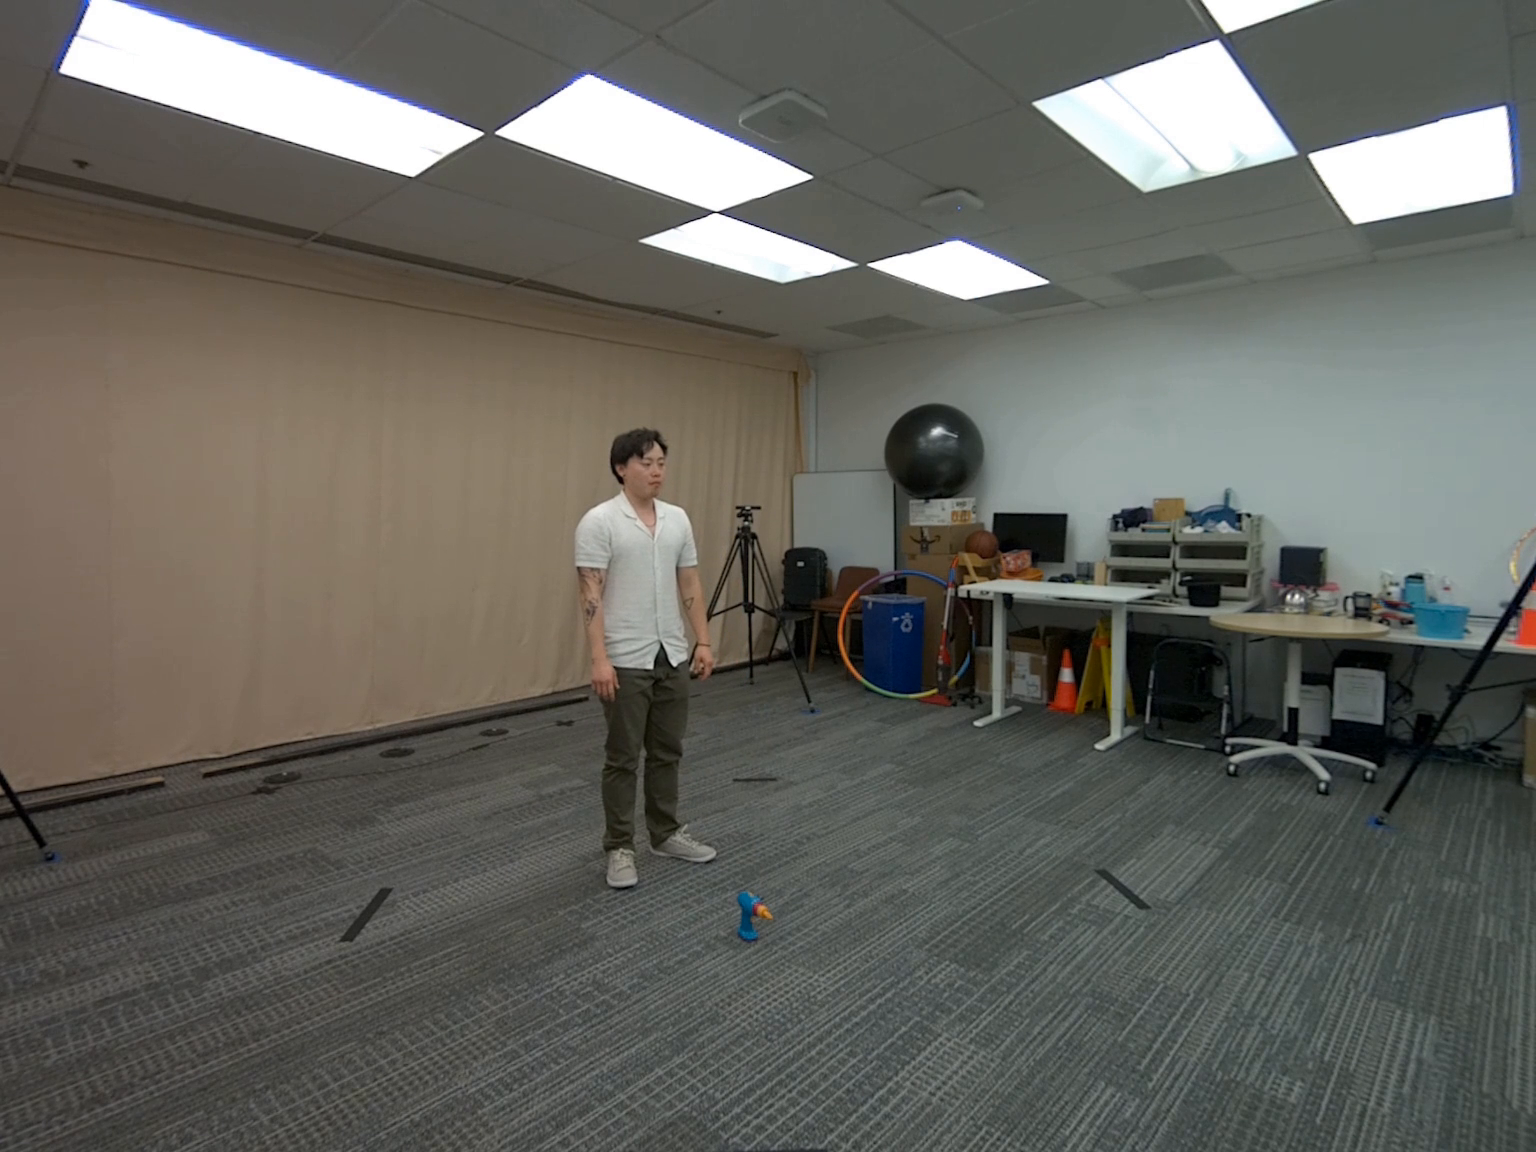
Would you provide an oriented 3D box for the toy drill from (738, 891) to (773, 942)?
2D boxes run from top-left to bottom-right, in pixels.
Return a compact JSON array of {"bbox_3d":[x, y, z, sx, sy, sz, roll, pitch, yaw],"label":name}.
[{"bbox_3d":[-0.037,1.097,2.685,0.059,0.145,0.175,-3,6,-37],"label":"toy drill"}]
